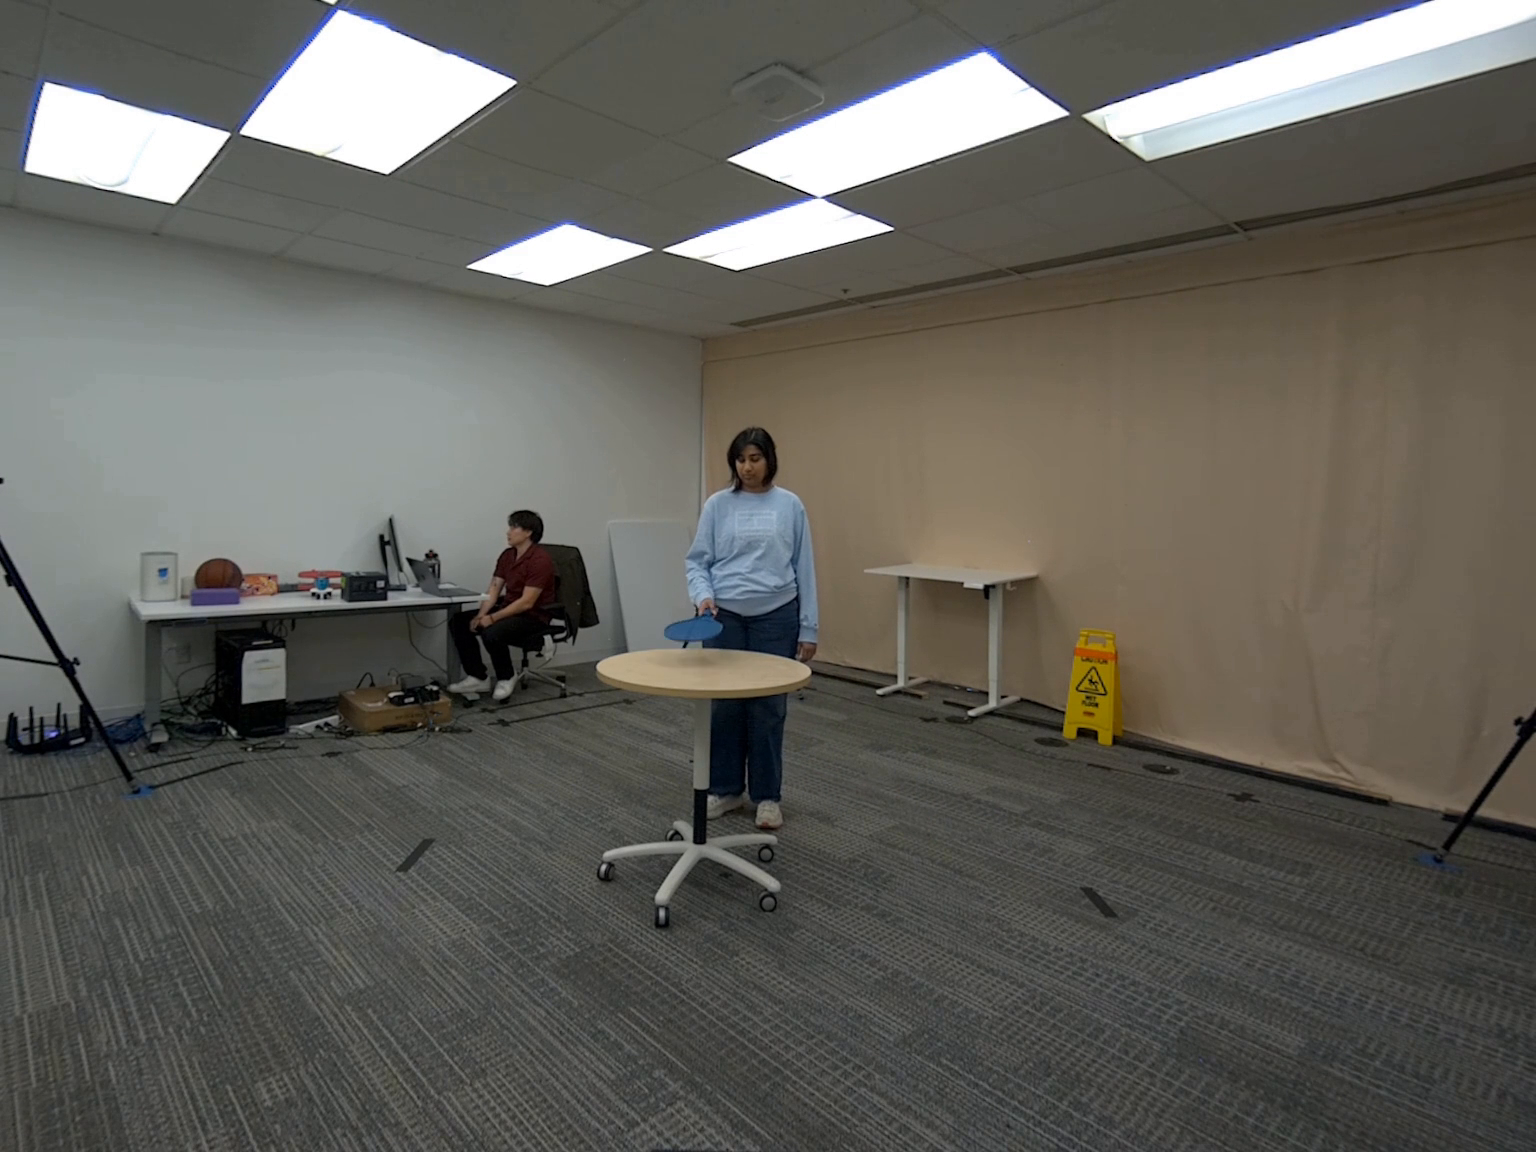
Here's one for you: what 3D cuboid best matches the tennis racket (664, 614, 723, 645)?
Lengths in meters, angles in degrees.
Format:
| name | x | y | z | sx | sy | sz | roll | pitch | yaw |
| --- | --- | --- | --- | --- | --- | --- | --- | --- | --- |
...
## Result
| name | x | y | z | sx | sy | sz | roll | pitch | yaw |
| --- | --- | --- | --- | --- | --- | --- | --- | --- | --- |
| tennis racket | -0.281 | 0.173 | 3.199 | 0.216 | 0.031 | 0.432 | 1 | 13 | 12 |
